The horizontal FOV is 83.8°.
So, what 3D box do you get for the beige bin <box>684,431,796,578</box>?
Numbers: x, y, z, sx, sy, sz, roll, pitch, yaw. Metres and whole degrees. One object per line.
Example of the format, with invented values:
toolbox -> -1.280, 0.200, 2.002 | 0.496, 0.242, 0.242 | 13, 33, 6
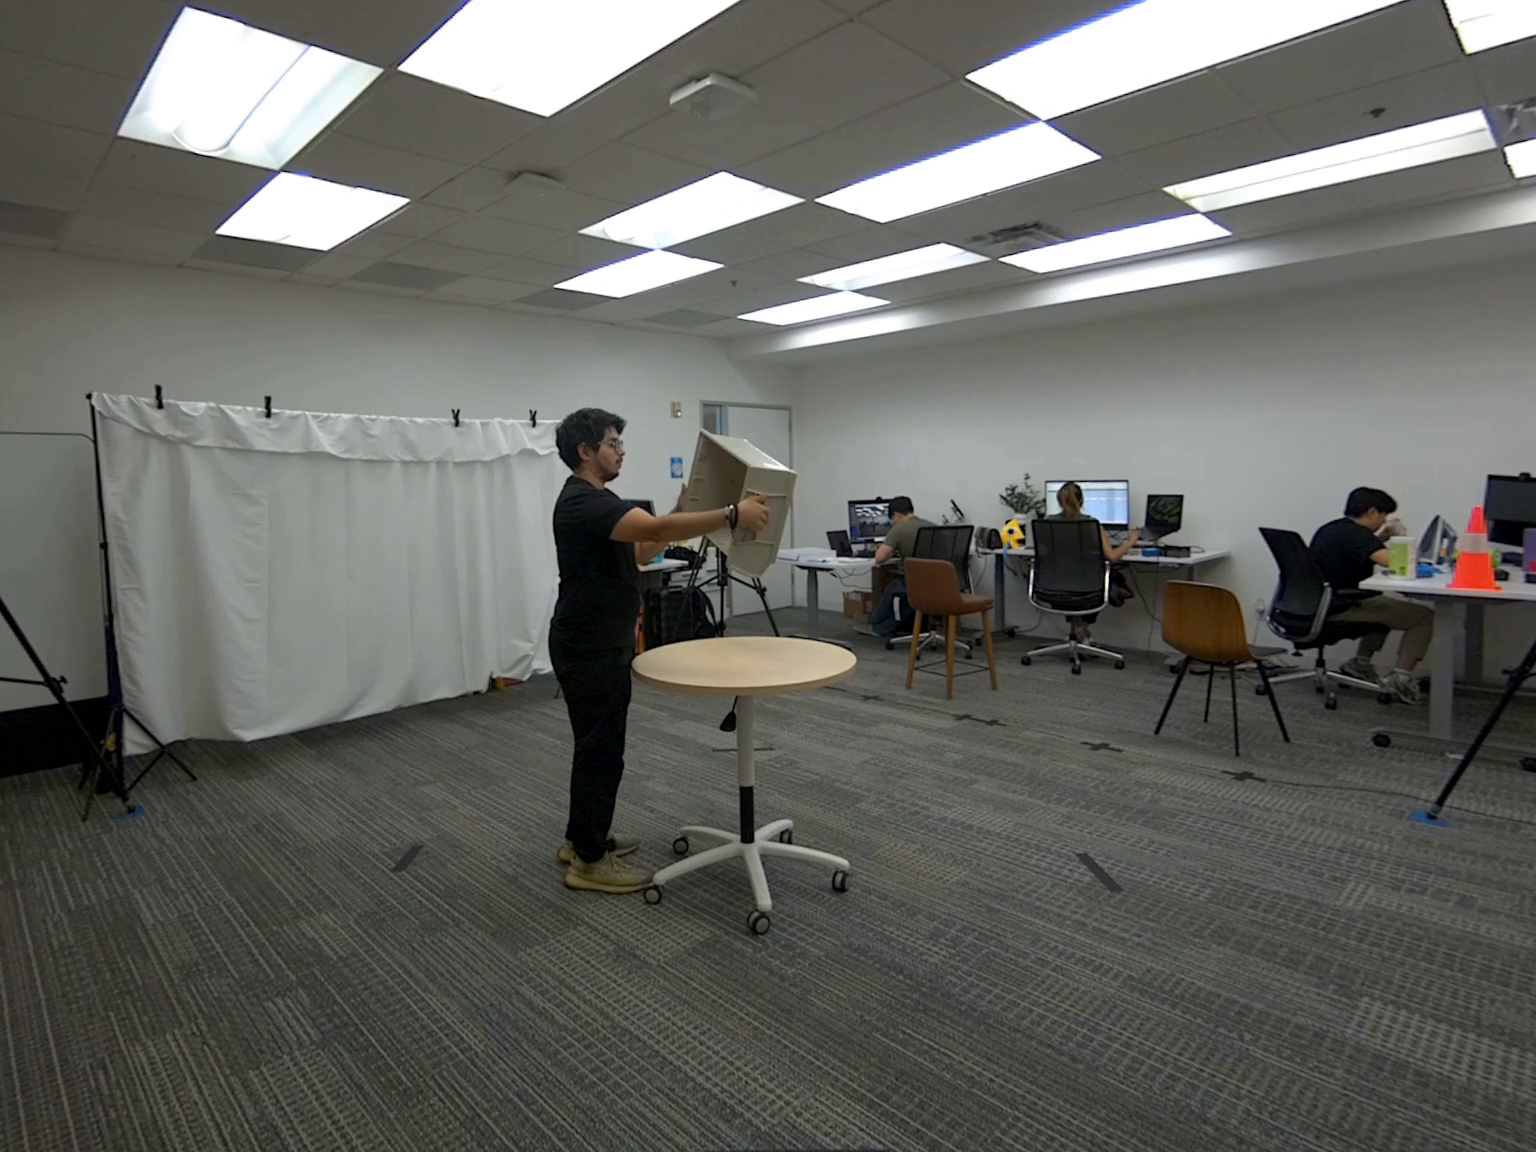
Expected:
beige bin -> -0.109, -0.247, 2.885 | 0.184, 0.373, 0.438 | 6, 19, -29
